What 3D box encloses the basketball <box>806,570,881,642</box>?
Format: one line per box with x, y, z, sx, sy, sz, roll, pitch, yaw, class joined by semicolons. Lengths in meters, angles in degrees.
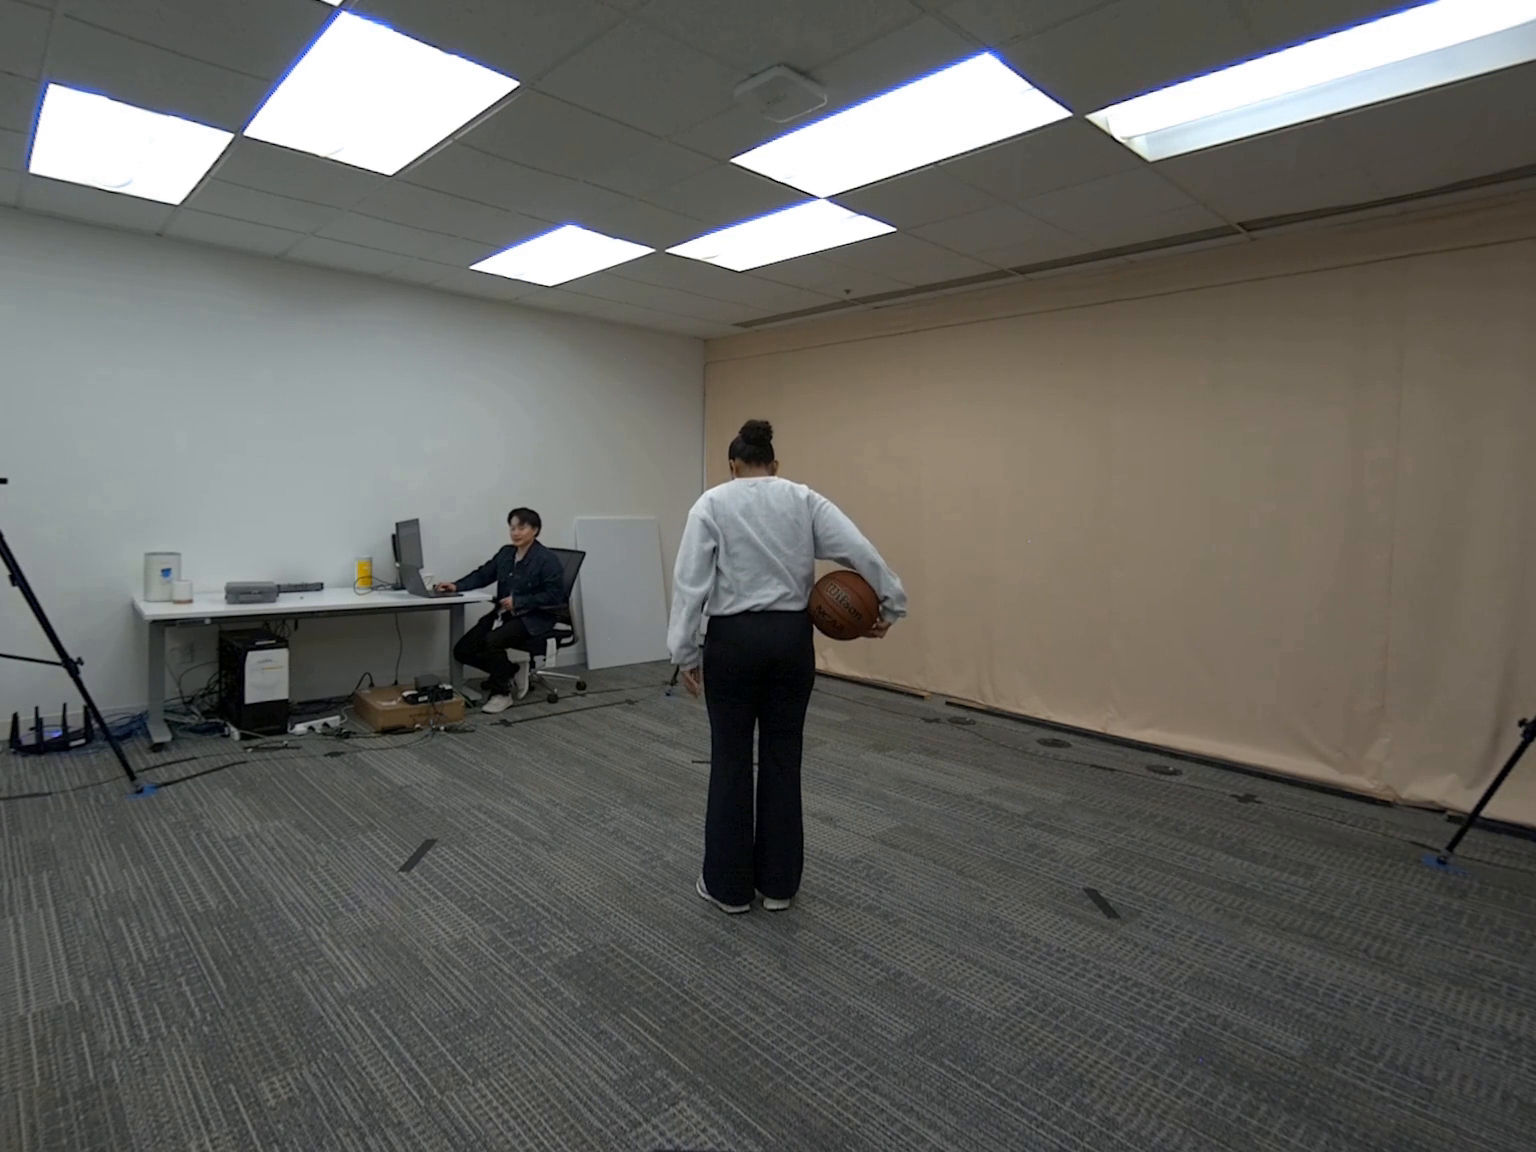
0.245;0.101;2.841;0.236;0.235;0.237;1;4;-1;basketball
